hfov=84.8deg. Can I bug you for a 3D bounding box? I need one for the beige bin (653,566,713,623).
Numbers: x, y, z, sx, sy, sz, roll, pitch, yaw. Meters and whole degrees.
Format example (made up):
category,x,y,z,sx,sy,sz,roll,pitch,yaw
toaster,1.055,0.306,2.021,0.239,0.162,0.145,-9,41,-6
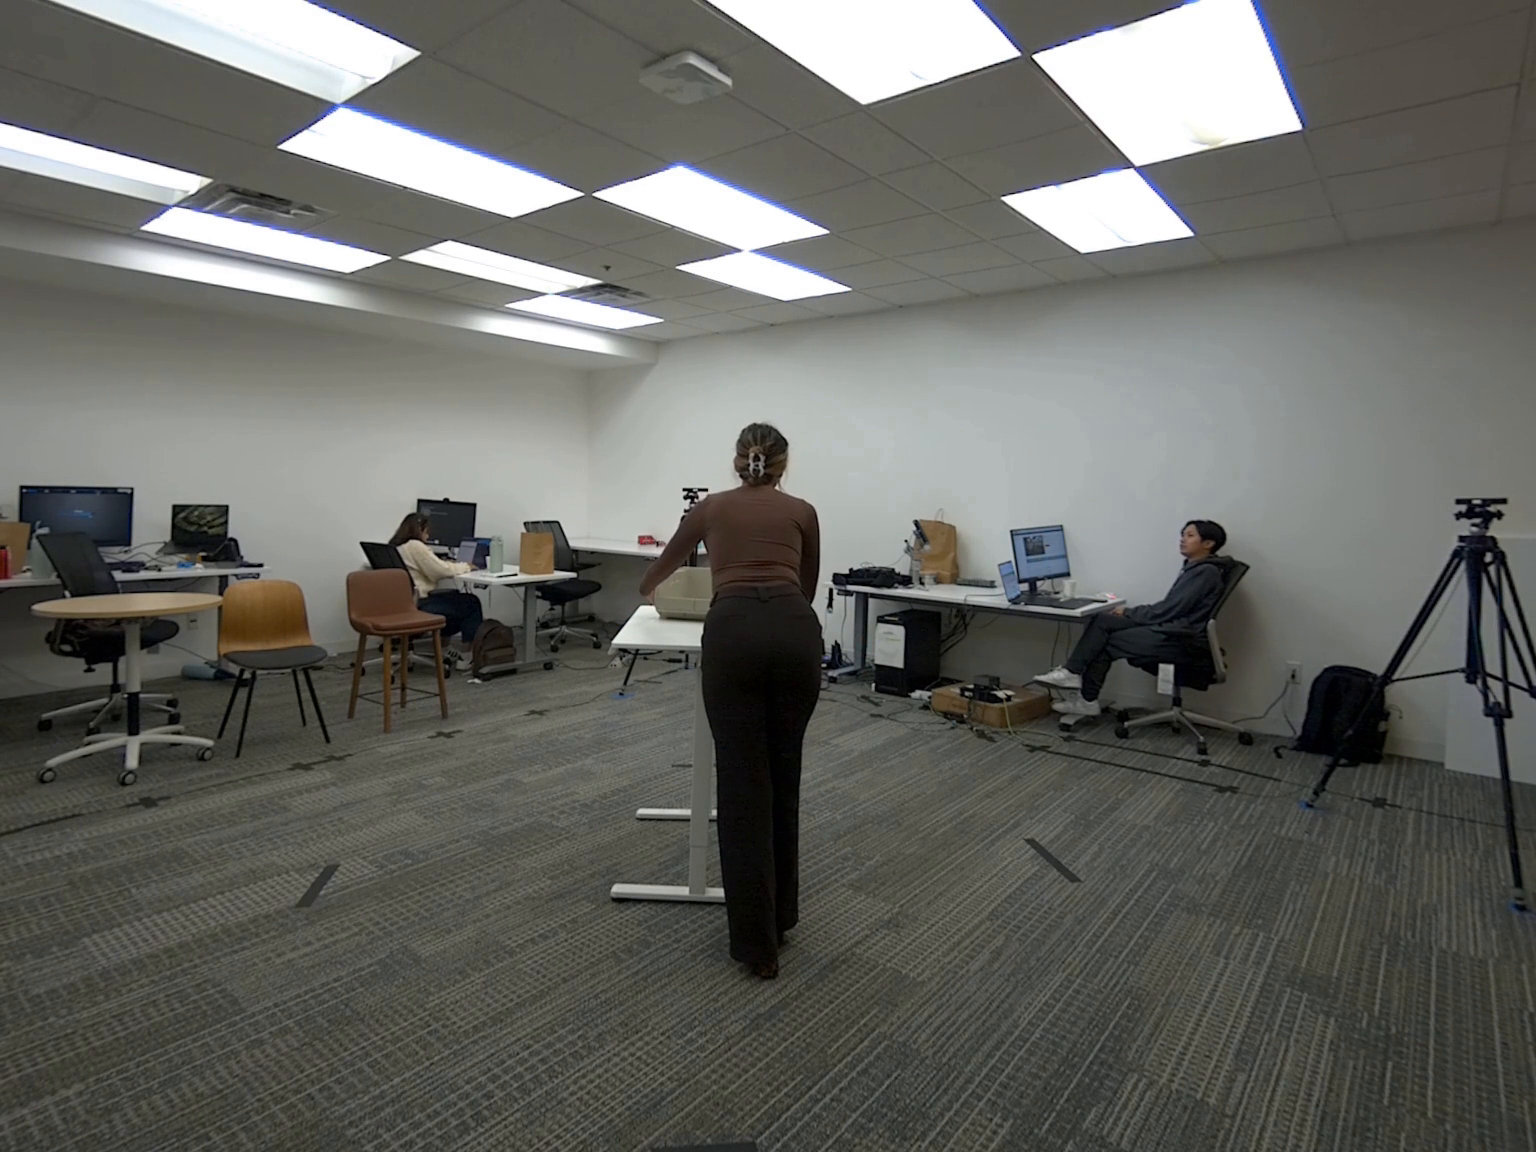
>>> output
category,x,y,z,sx,sy,sz,roll,pitch,yaw
beige bin,-0.205,0.075,3.368,0.429,0.188,0.372,3,4,14
